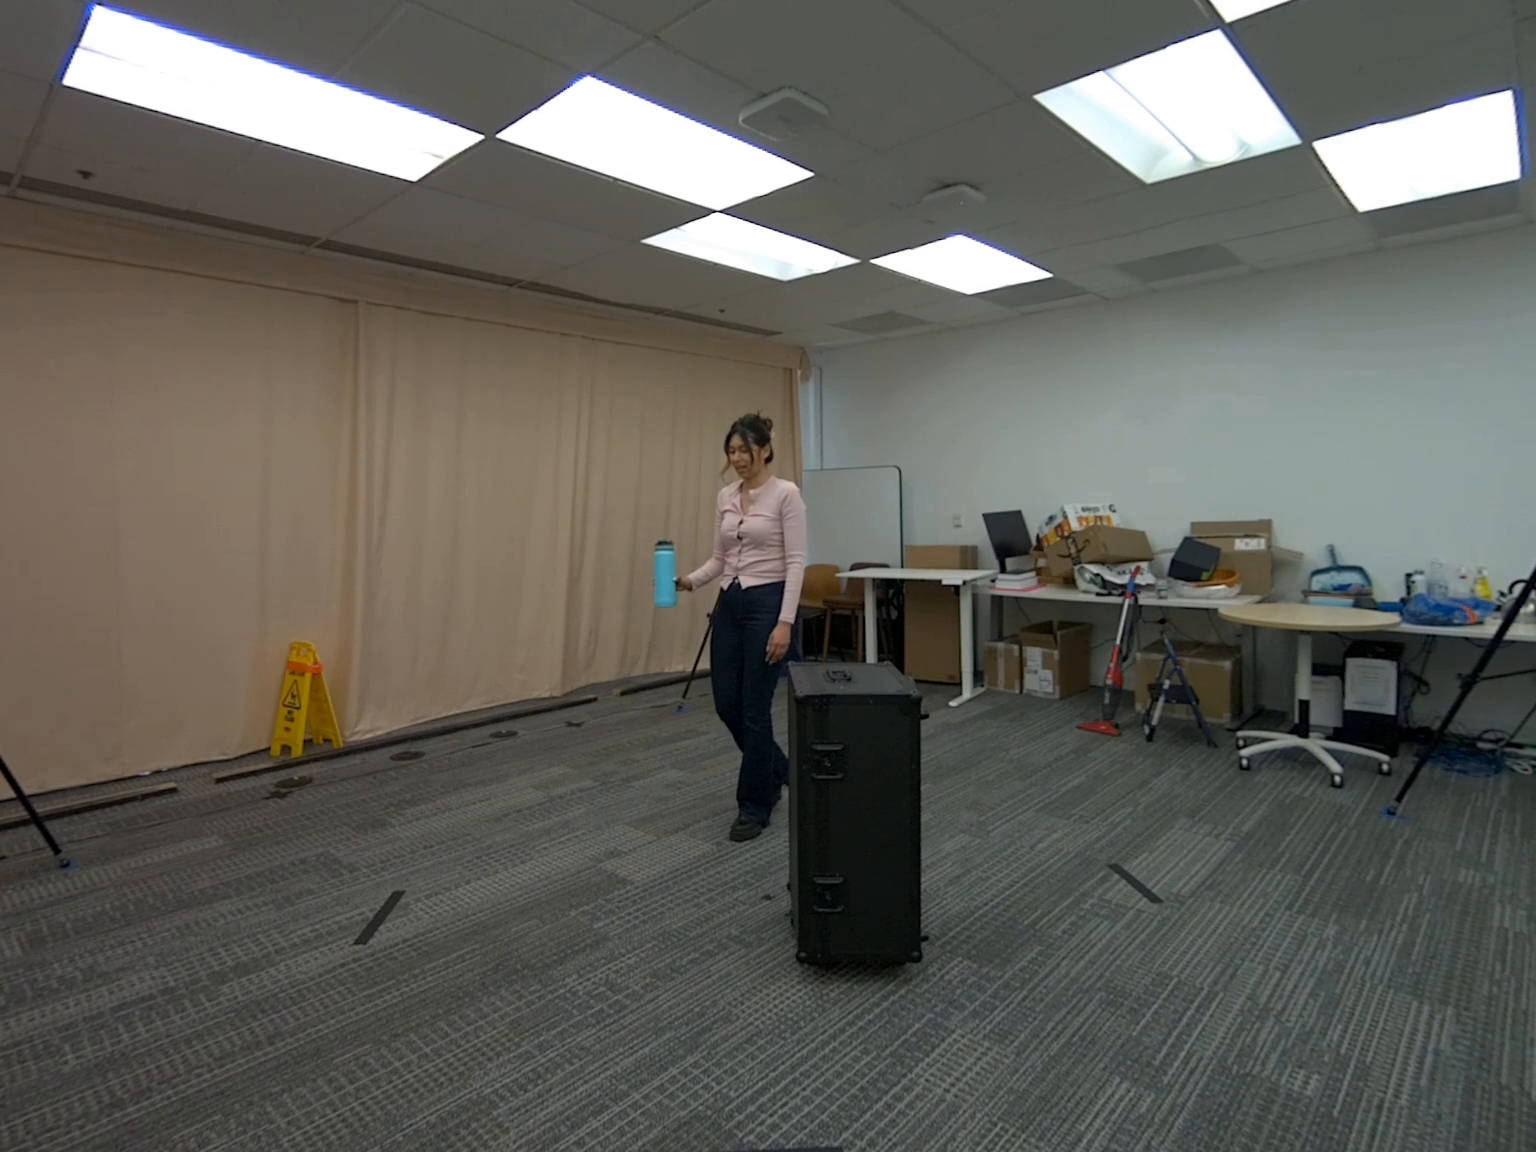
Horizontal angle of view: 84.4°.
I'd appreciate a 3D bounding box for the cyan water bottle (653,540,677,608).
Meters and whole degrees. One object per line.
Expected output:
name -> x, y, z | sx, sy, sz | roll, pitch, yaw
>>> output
cyan water bottle -> -0.424, -0.017, 3.480 | 0.092, 0.284, 0.092 | -1, -6, -2
